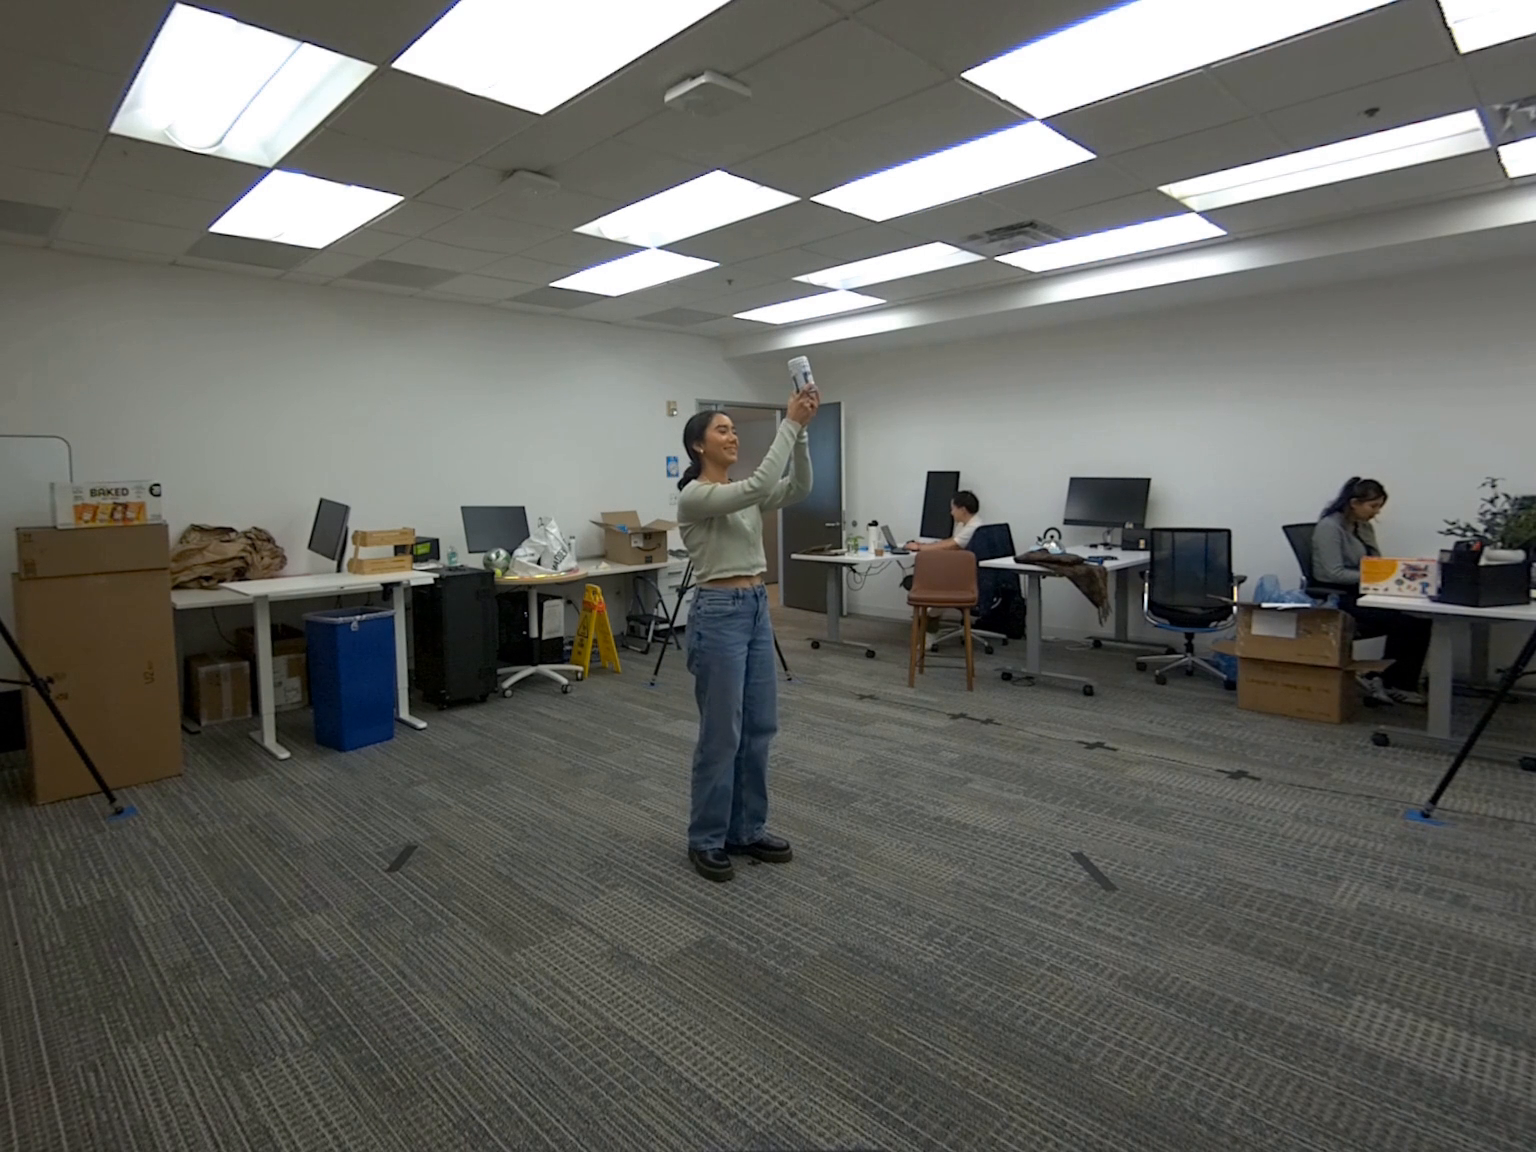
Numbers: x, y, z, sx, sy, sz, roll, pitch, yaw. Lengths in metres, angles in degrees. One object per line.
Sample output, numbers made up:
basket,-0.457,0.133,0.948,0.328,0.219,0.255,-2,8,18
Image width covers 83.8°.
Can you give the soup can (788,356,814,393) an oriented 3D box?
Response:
soup can,0.109,-0.667,2.858,0.067,0.121,0.067,-16,2,-1
